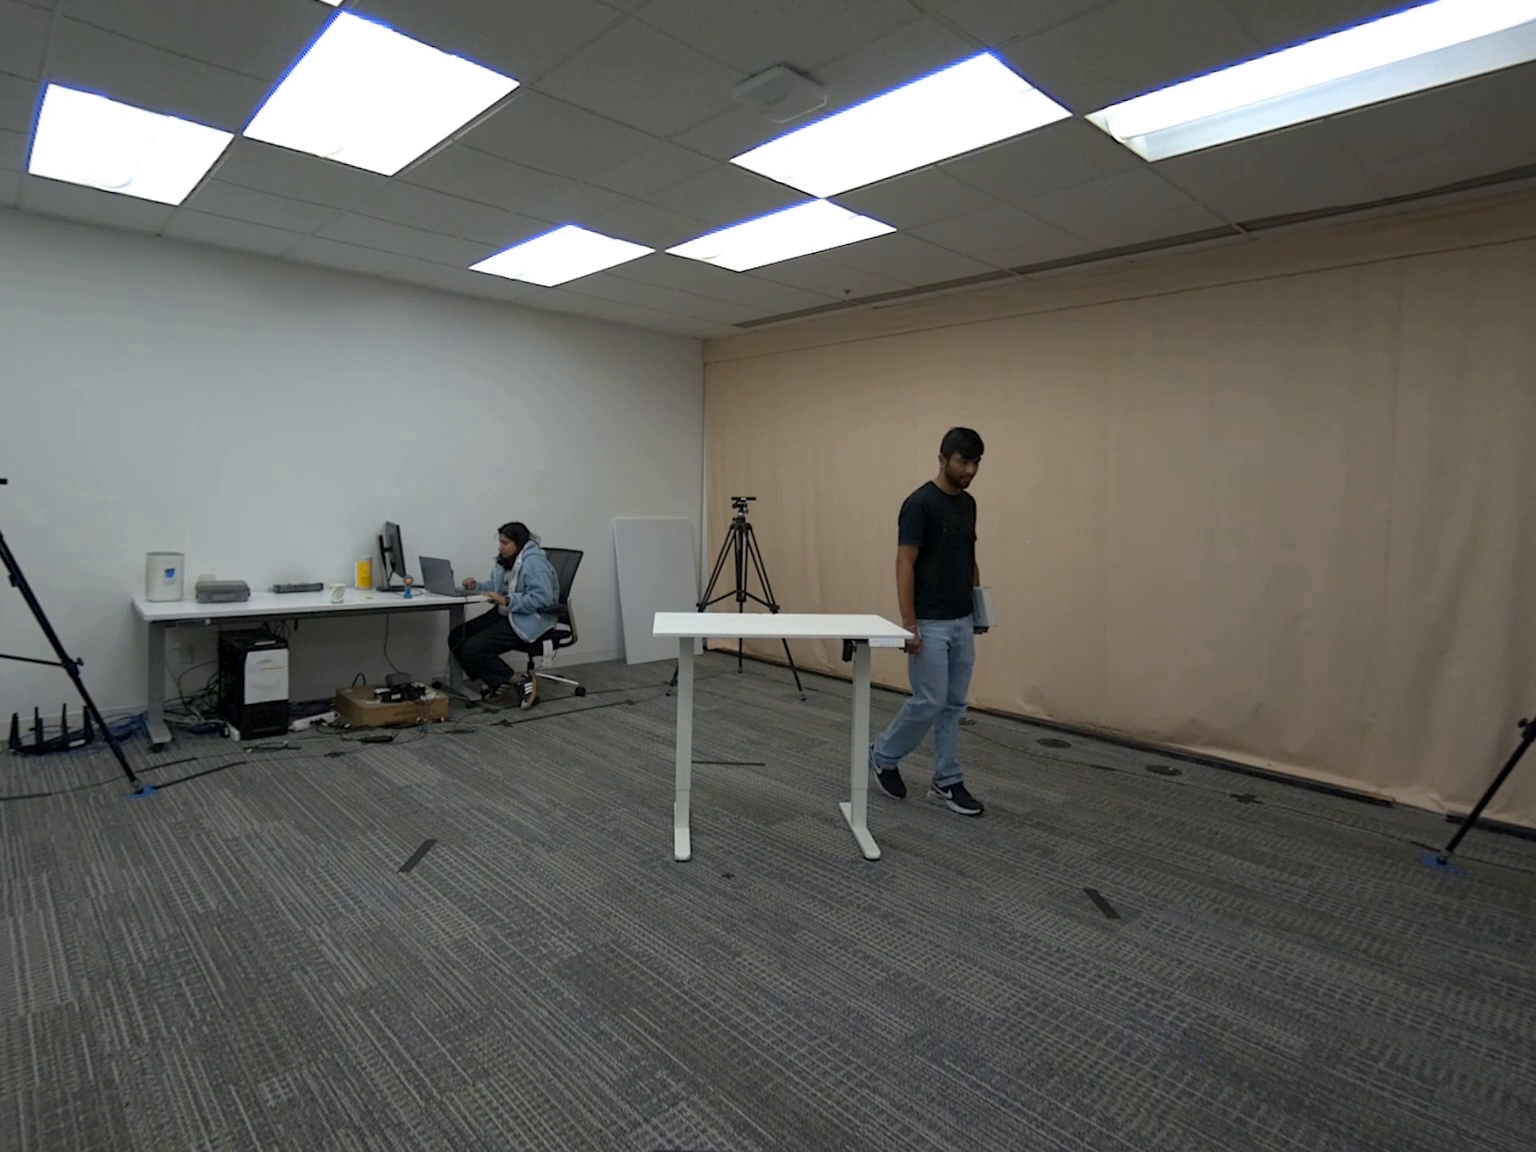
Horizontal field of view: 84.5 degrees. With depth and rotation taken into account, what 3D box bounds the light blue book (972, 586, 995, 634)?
[{"bbox_3d":[0.930,0.139,3.988,0.058,0.191,0.266,-9,2,-34],"label":"light blue book"}]
